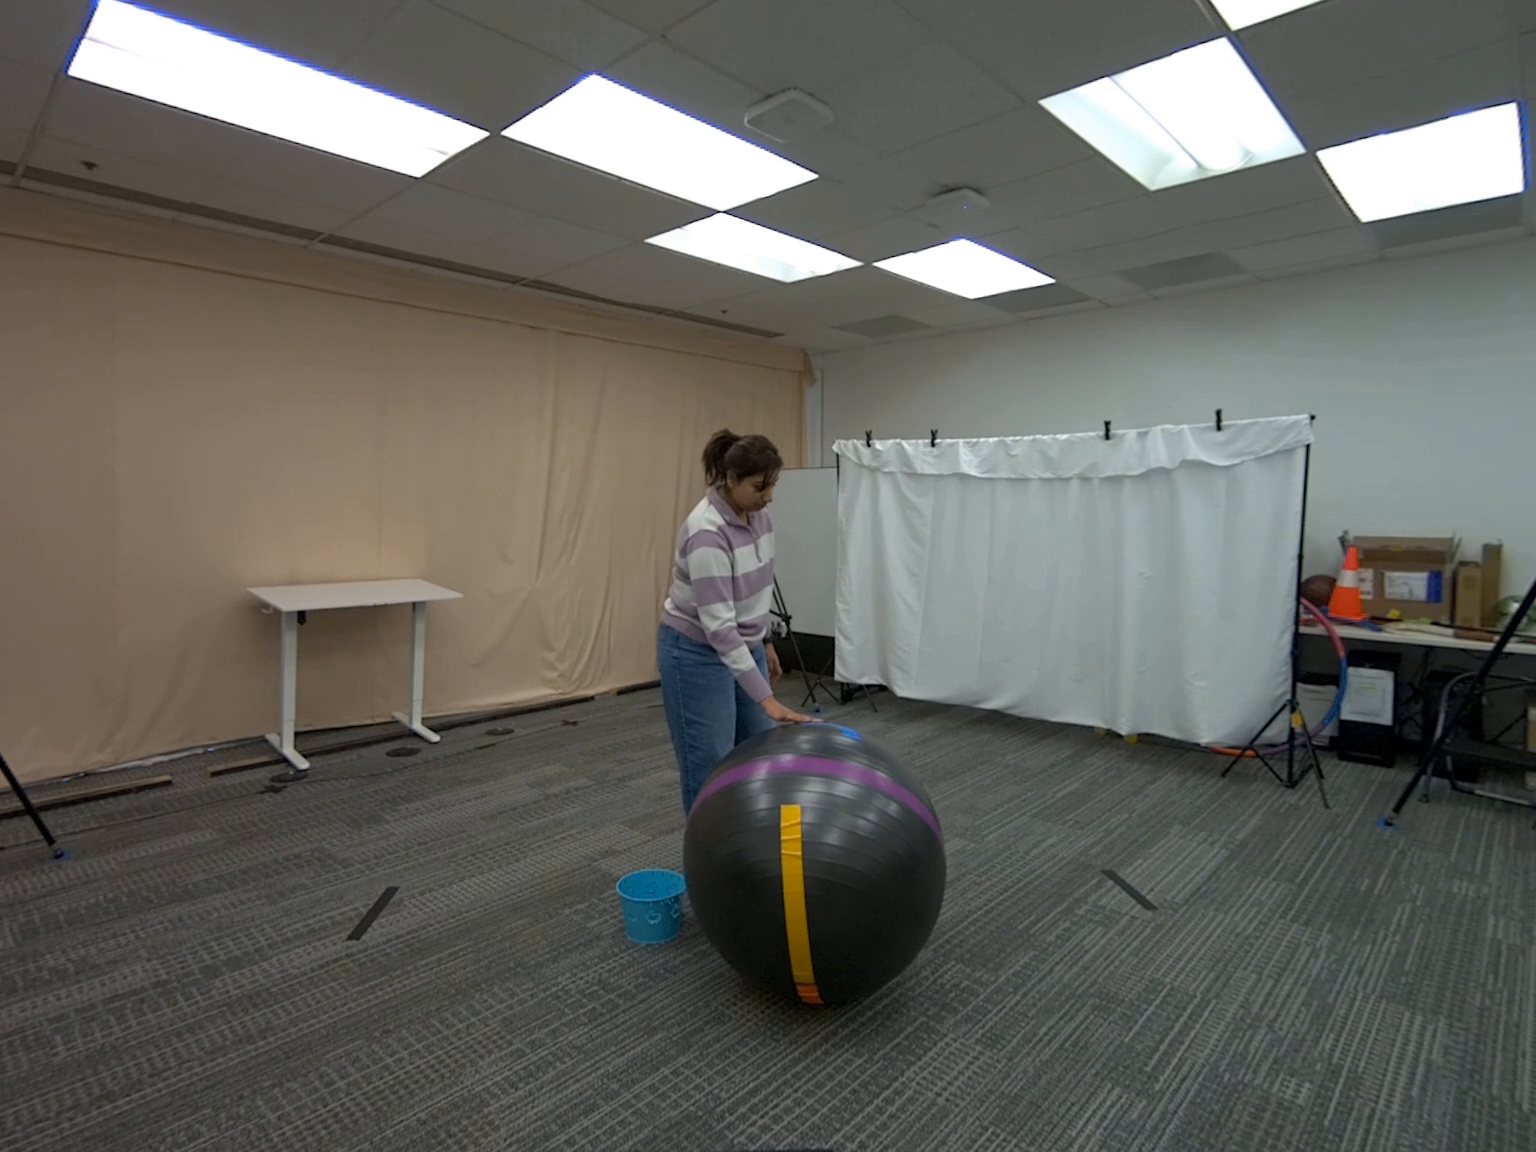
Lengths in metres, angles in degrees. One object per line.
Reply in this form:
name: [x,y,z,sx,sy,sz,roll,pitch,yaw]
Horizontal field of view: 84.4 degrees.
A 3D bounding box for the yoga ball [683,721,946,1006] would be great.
yoga ball: [0.137,0.824,2.439,0.757,0.756,0.760,0,4,-2]
